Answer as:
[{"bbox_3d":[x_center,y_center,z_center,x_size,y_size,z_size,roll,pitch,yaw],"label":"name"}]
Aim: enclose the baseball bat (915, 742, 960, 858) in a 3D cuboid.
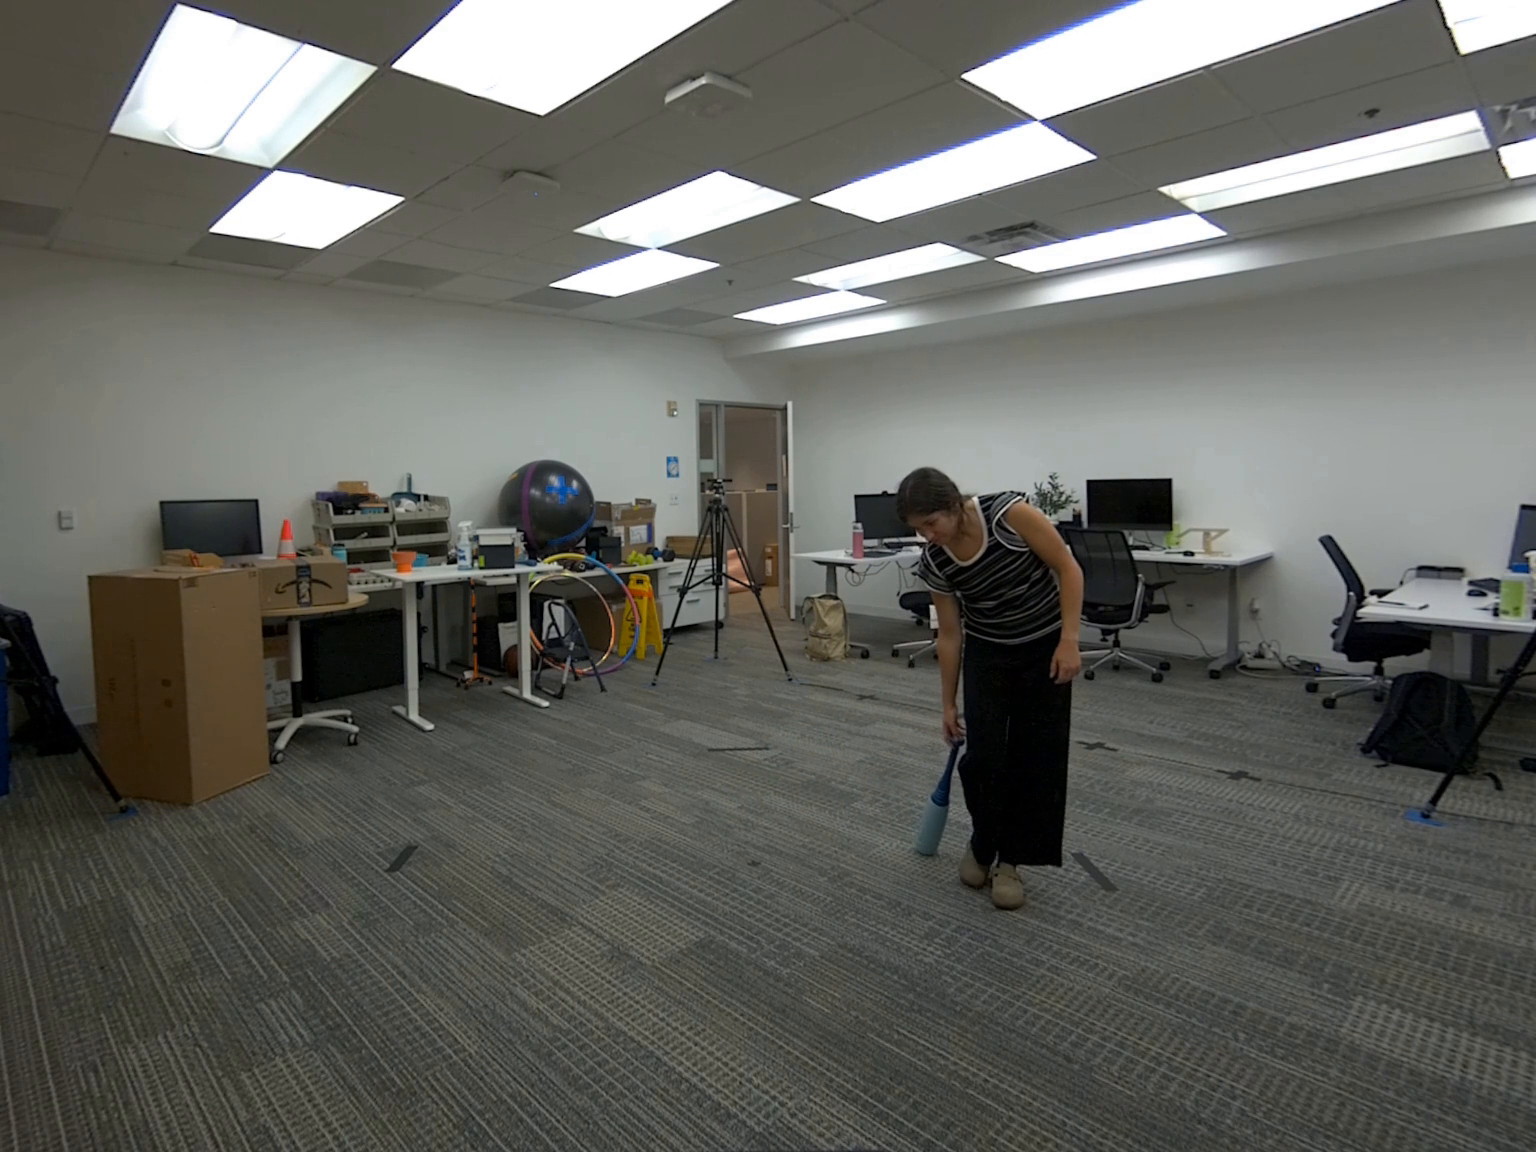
[{"bbox_3d":[0.619,0.789,3.053,0.089,0.532,0.091,5,31,-5],"label":"baseball bat"}]
